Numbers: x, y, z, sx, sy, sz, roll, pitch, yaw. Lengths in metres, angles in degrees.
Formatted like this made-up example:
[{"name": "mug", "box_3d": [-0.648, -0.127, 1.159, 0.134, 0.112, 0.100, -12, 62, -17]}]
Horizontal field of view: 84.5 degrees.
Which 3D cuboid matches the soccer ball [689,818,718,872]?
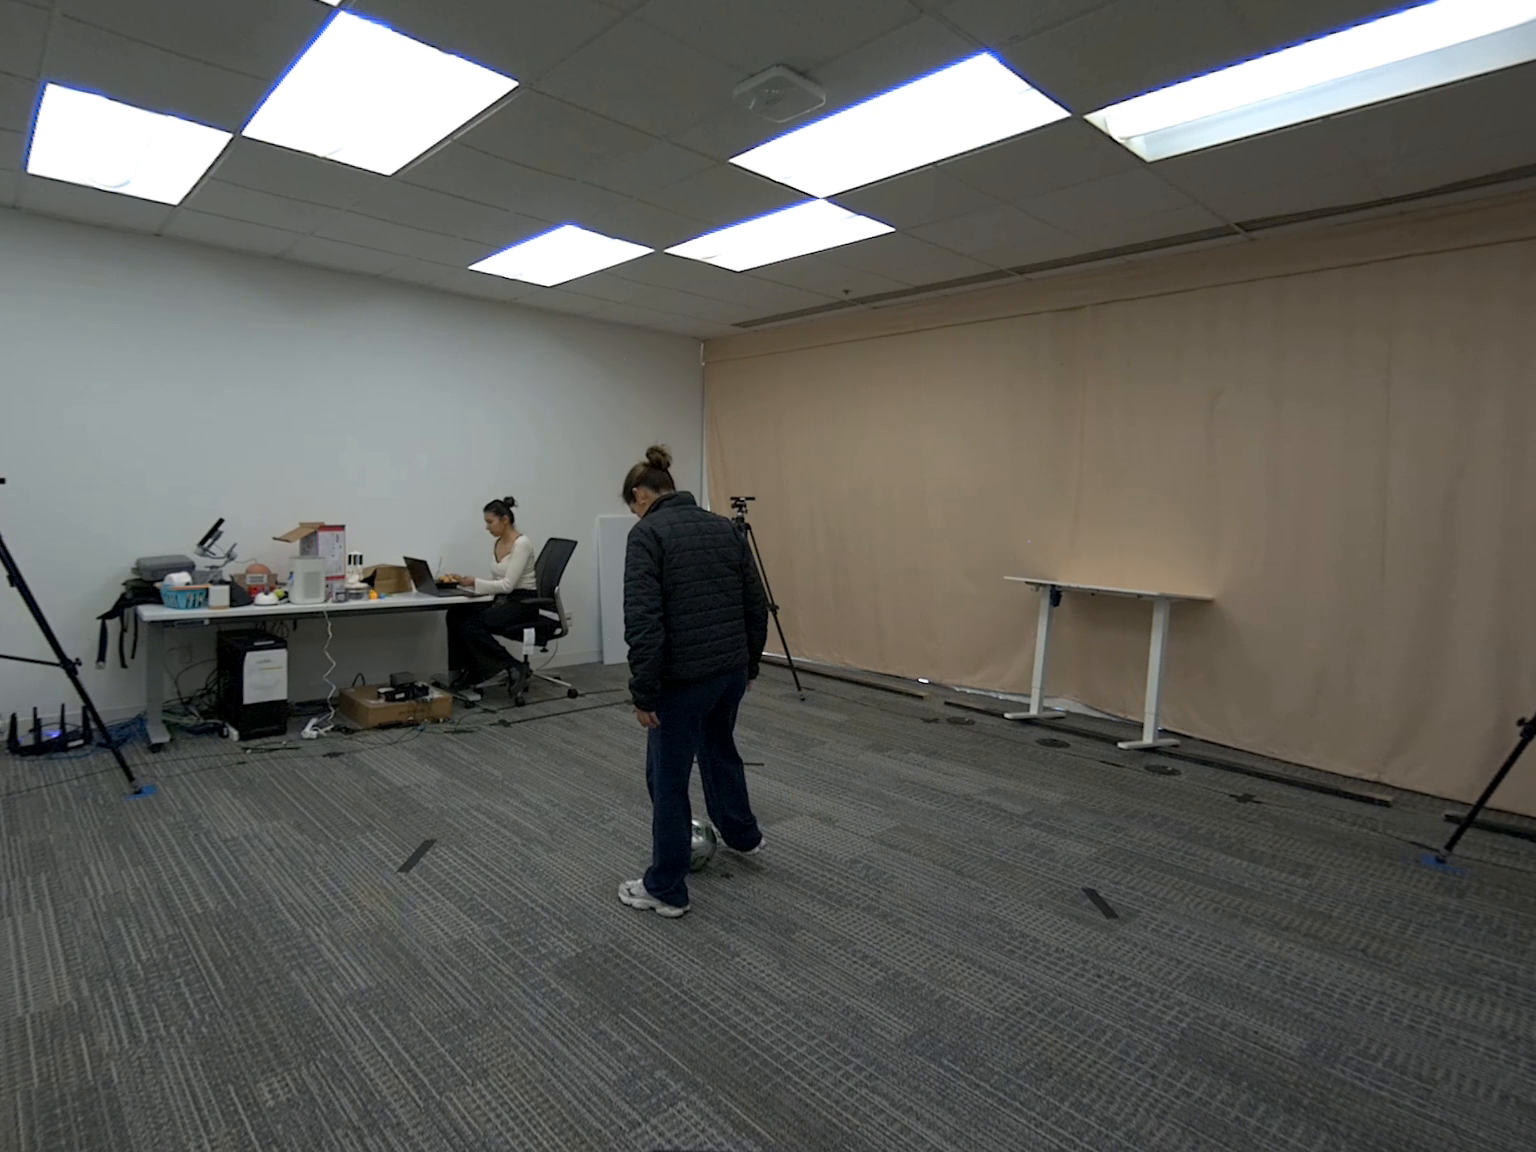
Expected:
[{"name": "soccer ball", "box_3d": [-0.288, 1.002, 3.158, 0.187, 0.187, 0.188, 1, 4, -1]}]
